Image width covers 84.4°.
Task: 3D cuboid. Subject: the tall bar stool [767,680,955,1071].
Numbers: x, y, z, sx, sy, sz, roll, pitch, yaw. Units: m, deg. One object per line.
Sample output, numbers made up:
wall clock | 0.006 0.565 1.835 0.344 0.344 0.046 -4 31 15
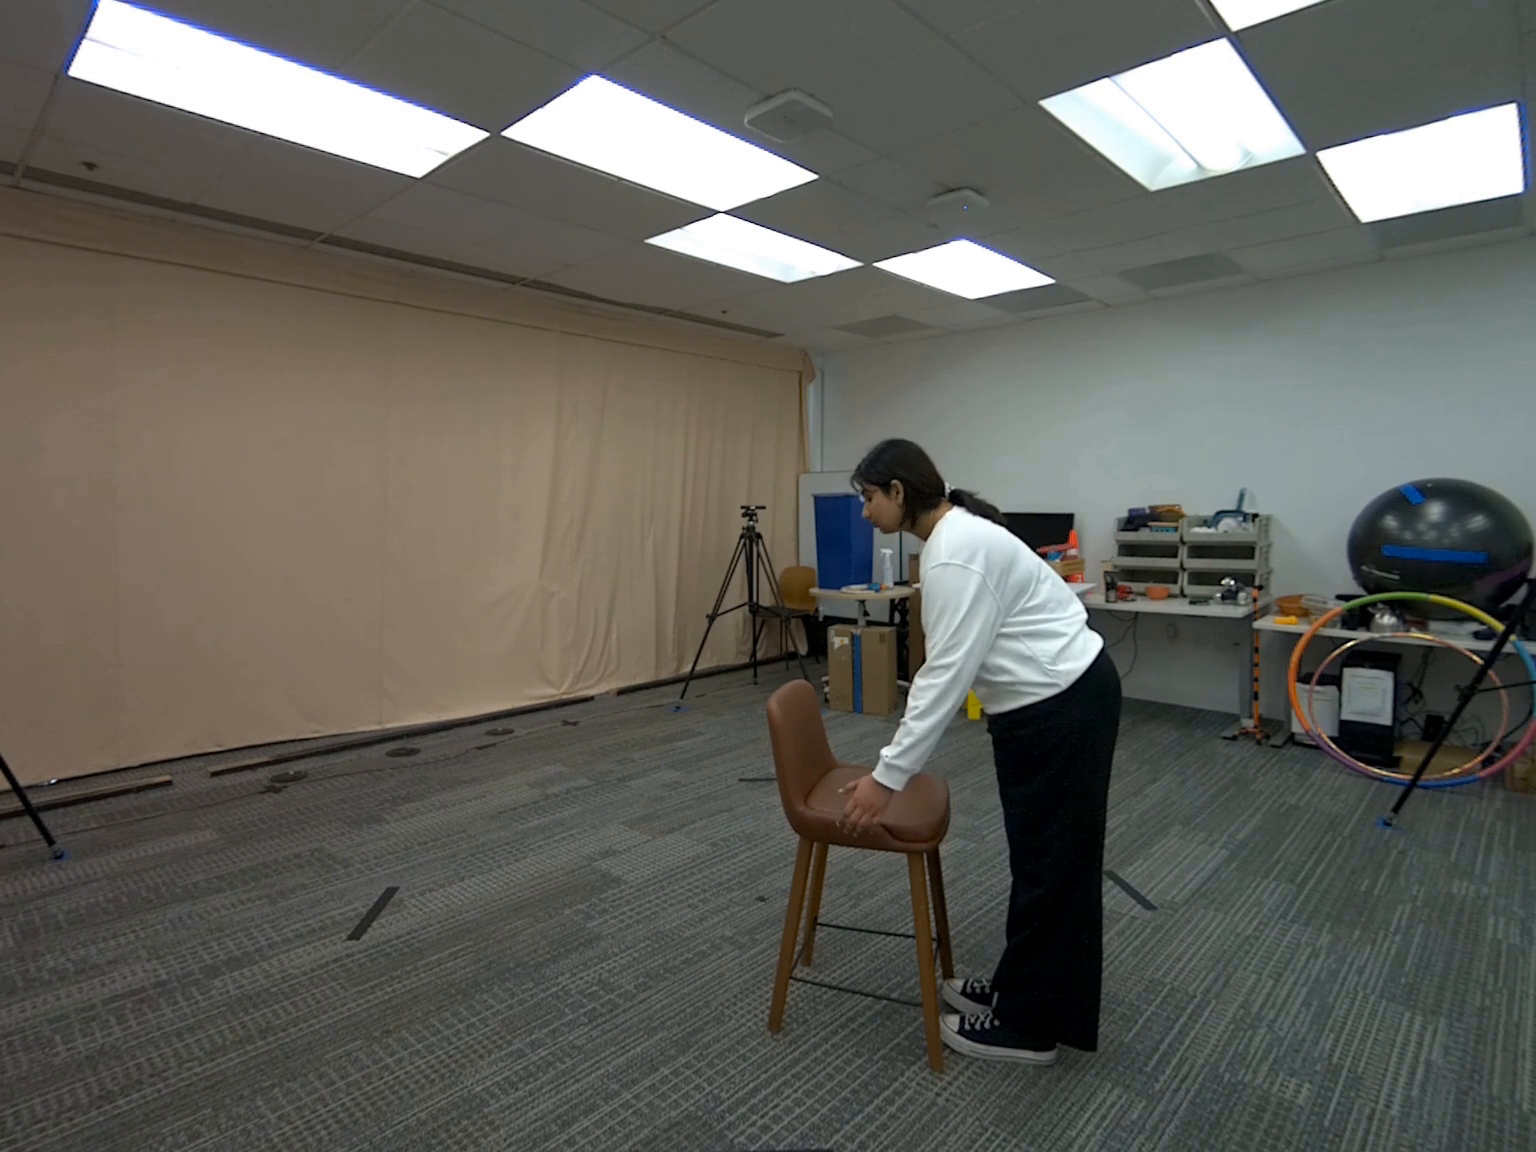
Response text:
tall bar stool | 0.275 0.763 2.309 0.478 0.888 0.447 0 3 20
